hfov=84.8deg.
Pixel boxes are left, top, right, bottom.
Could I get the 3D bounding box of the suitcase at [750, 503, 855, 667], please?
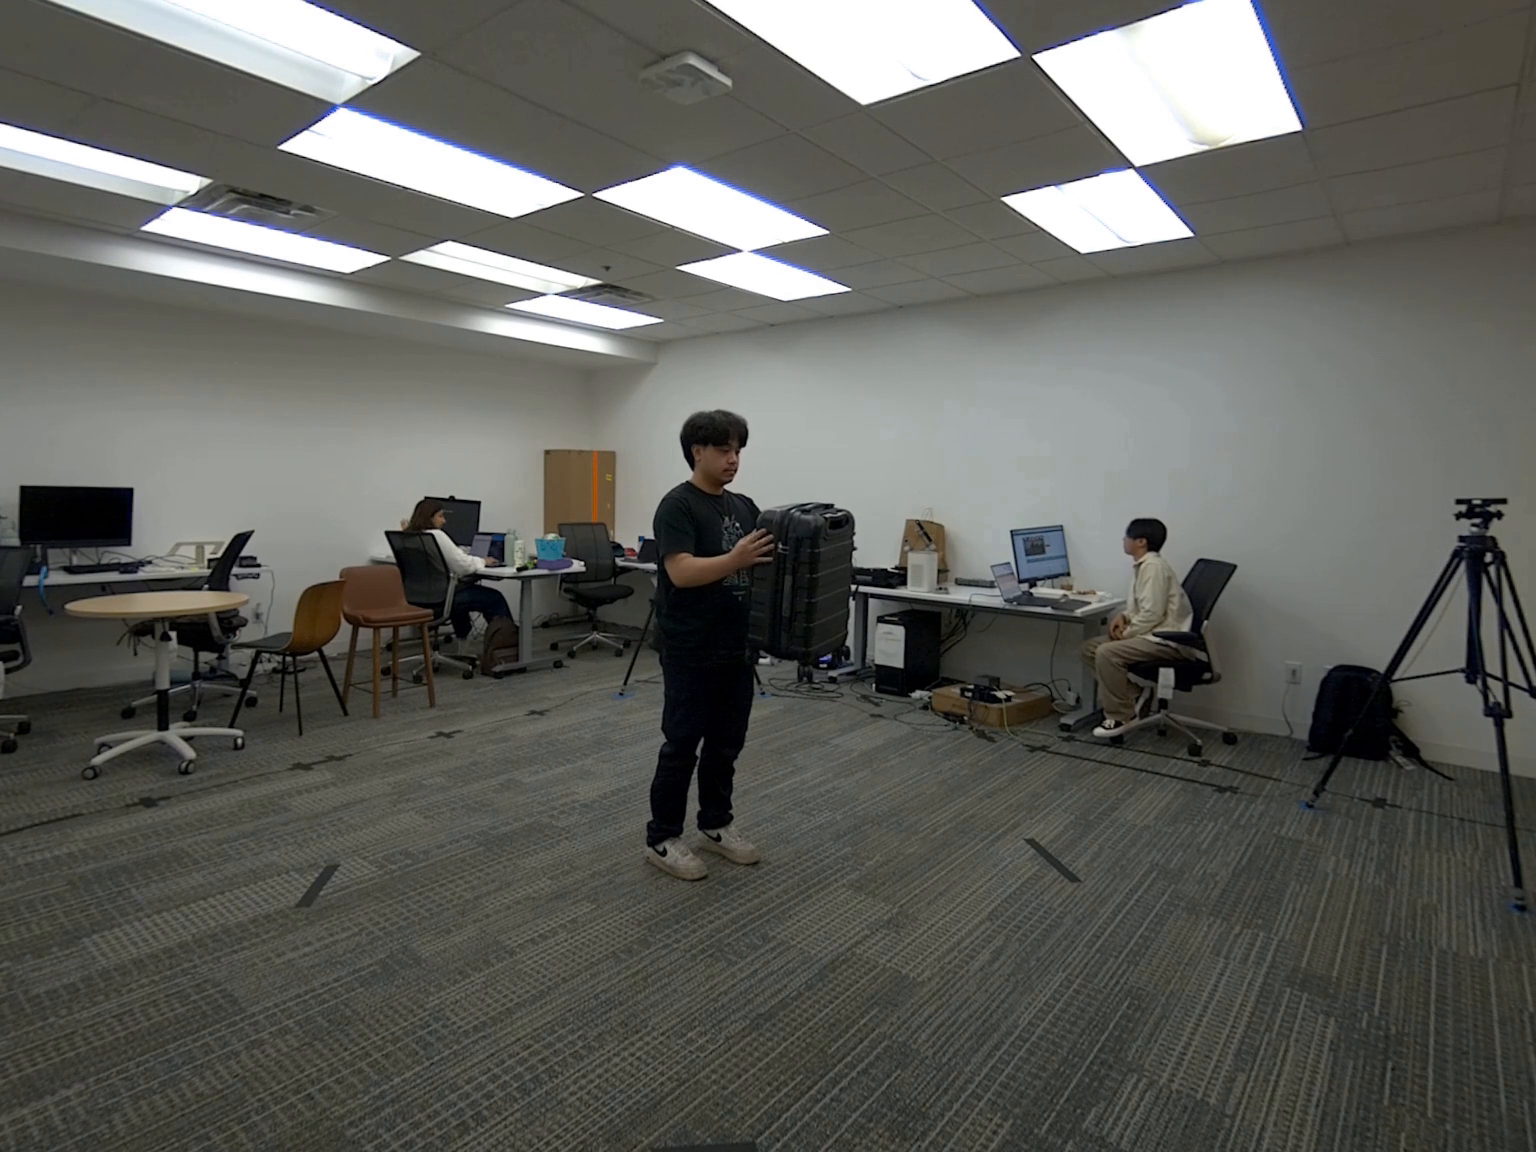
[{"bbox_3d":[0.111,0.023,2.876,0.256,0.545,0.367,9,11,30],"label":"suitcase"}]
